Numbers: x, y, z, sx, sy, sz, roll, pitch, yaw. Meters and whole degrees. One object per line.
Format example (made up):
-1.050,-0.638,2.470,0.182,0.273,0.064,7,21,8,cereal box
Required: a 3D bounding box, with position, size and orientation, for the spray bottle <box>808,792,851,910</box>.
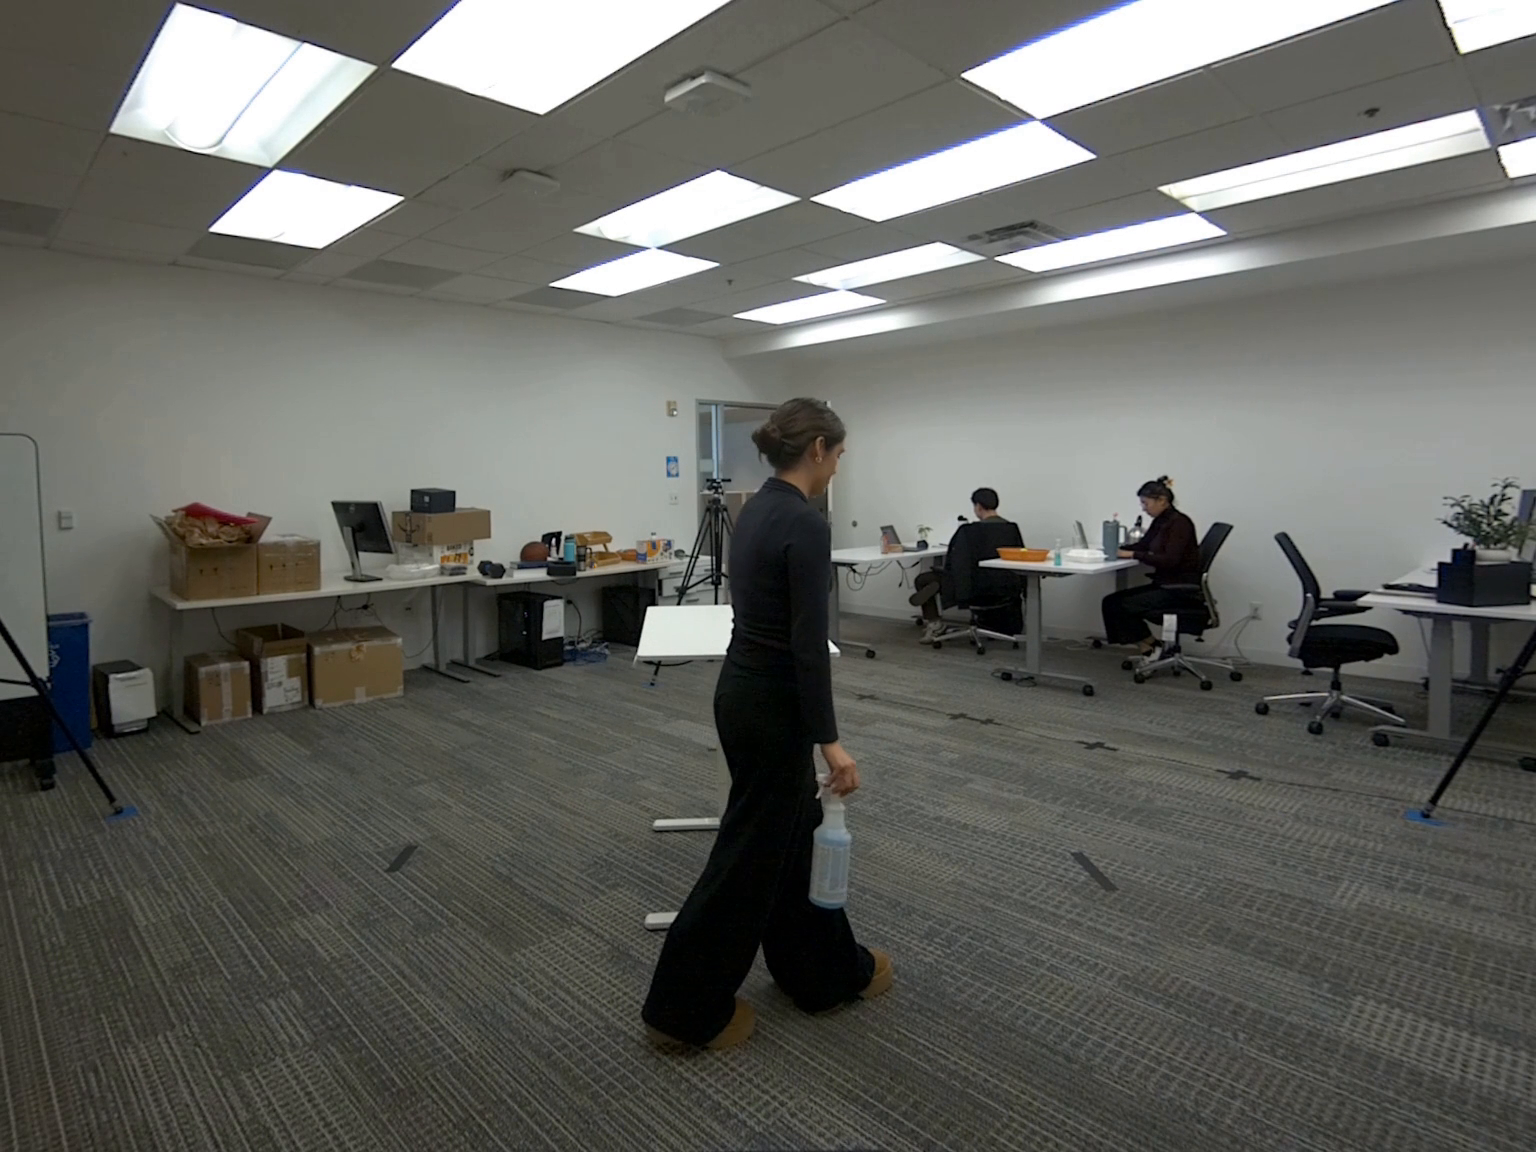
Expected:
0.144,0.607,1.984,0.091,0.297,0.086,3,0,6,spray bottle
